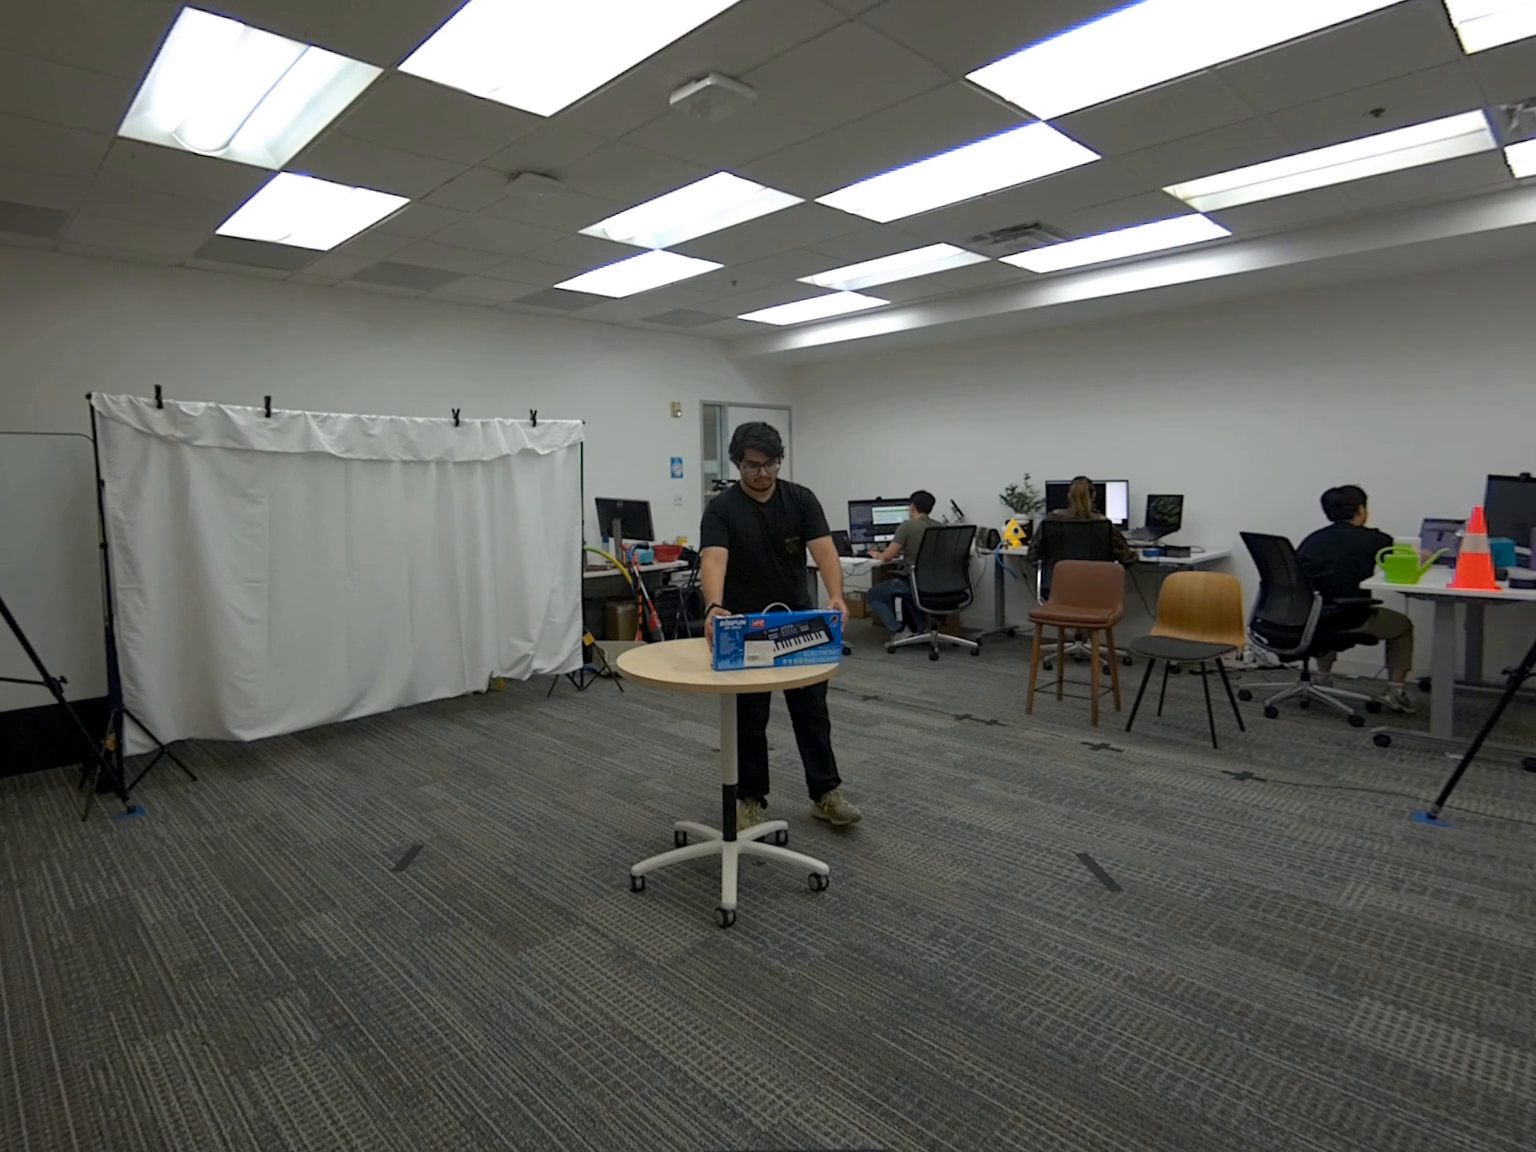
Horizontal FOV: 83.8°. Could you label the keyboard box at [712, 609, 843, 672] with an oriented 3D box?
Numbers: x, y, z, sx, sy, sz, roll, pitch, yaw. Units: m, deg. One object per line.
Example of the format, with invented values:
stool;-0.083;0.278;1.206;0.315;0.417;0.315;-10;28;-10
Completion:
keyboard box;0.031;0.217;2.824;0.430;0.175;0.060;-3;4;-17
